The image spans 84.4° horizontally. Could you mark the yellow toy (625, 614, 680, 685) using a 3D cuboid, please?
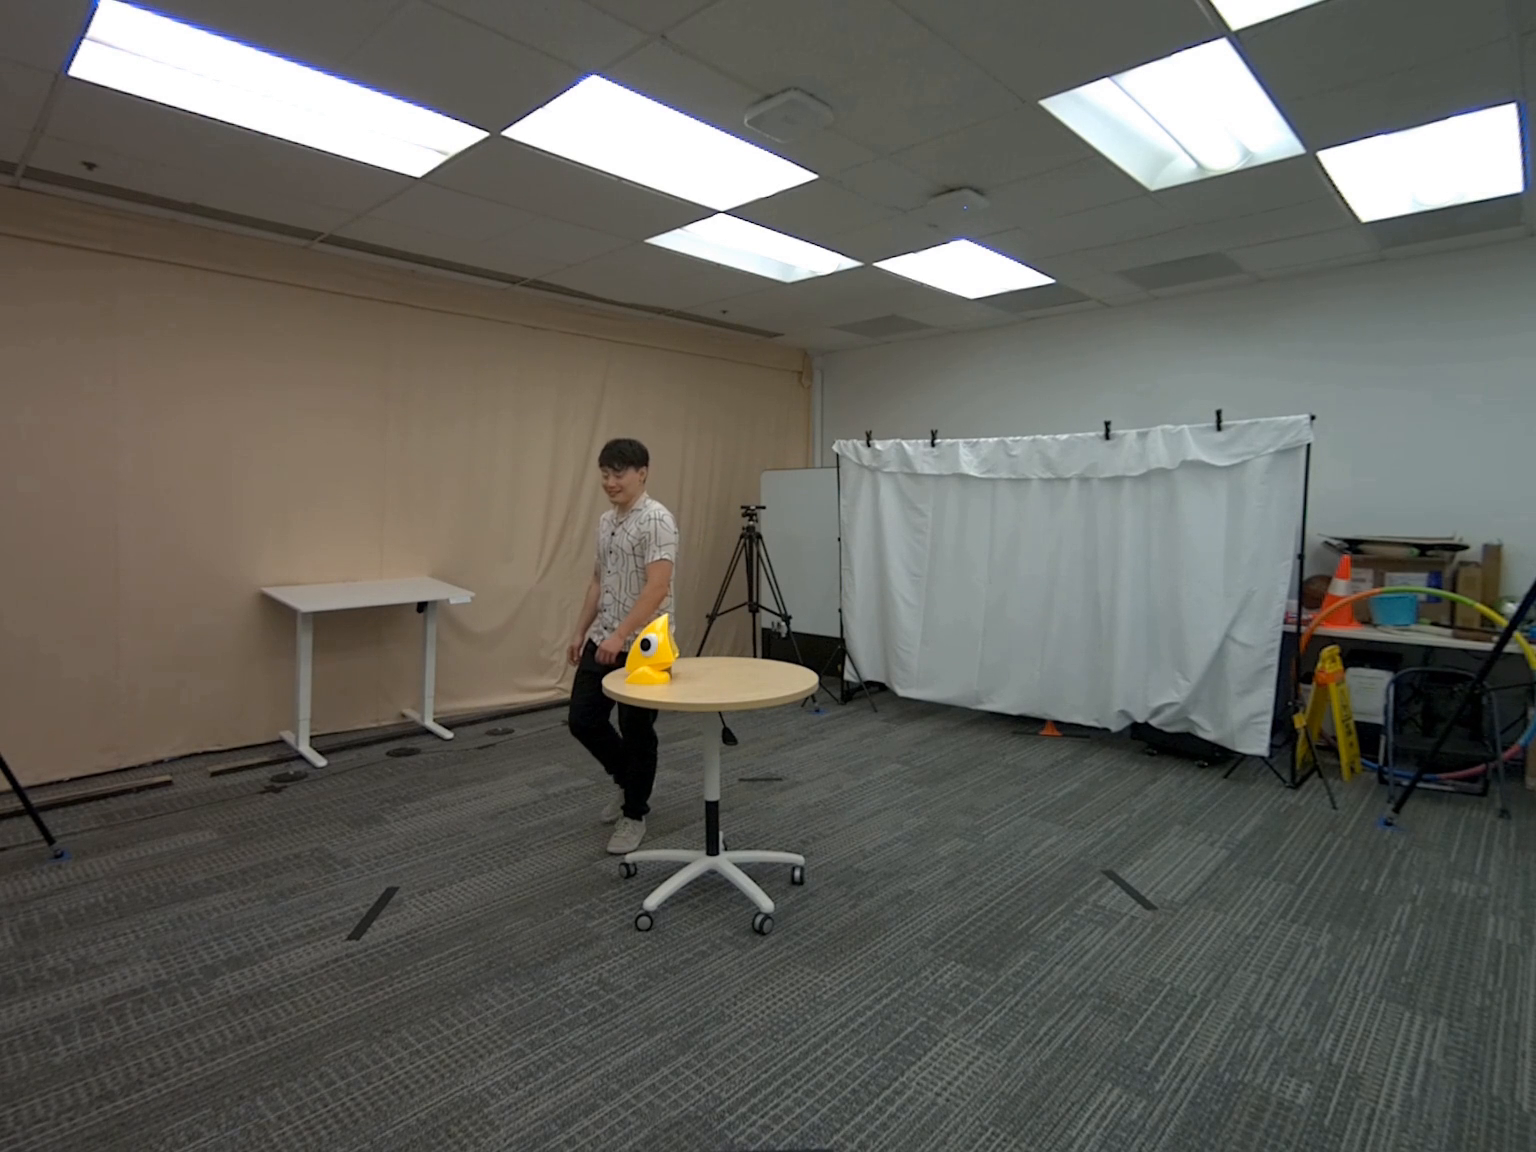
[{"bbox_3d":[-0.411,0.249,2.990,0.193,0.230,0.205,1,4,-1],"label":"yellow toy"}]
